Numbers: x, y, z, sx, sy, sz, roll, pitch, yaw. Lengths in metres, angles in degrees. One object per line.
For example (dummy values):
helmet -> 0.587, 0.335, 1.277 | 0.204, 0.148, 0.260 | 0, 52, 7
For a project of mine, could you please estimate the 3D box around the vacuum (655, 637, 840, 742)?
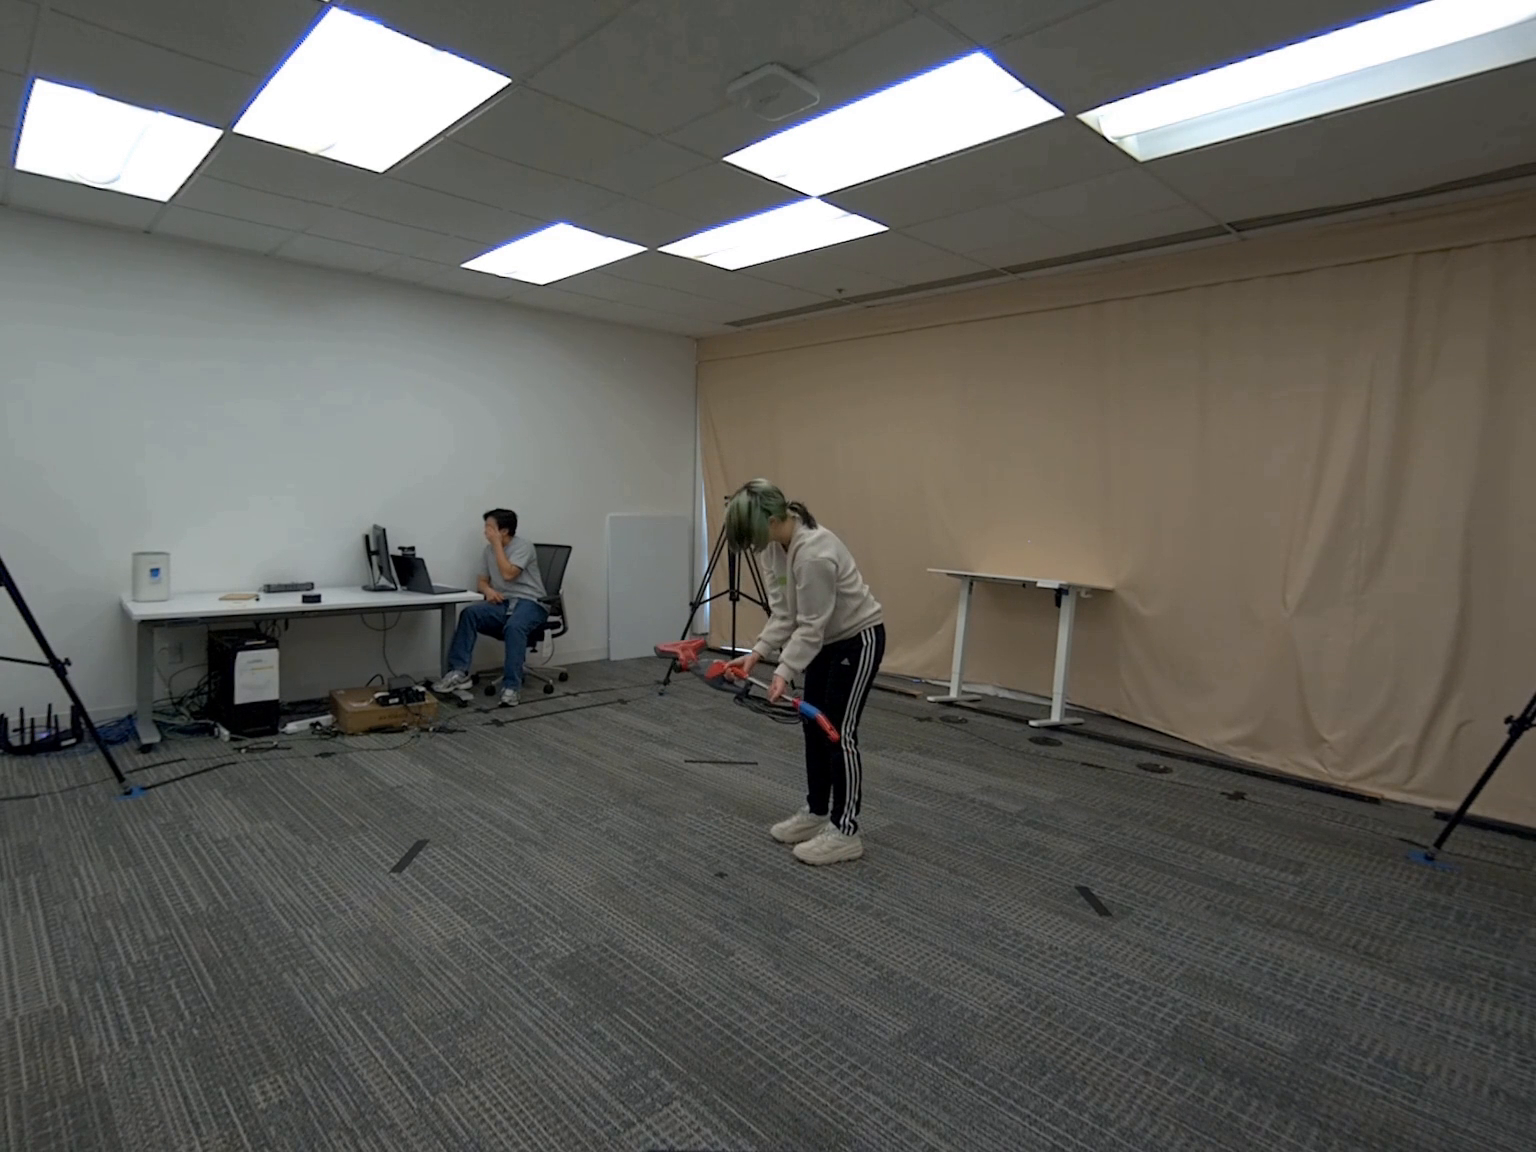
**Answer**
vacuum -> -0.080, 0.438, 3.239 | 0.248, 0.142, 1.078 | -11, 16, -32
